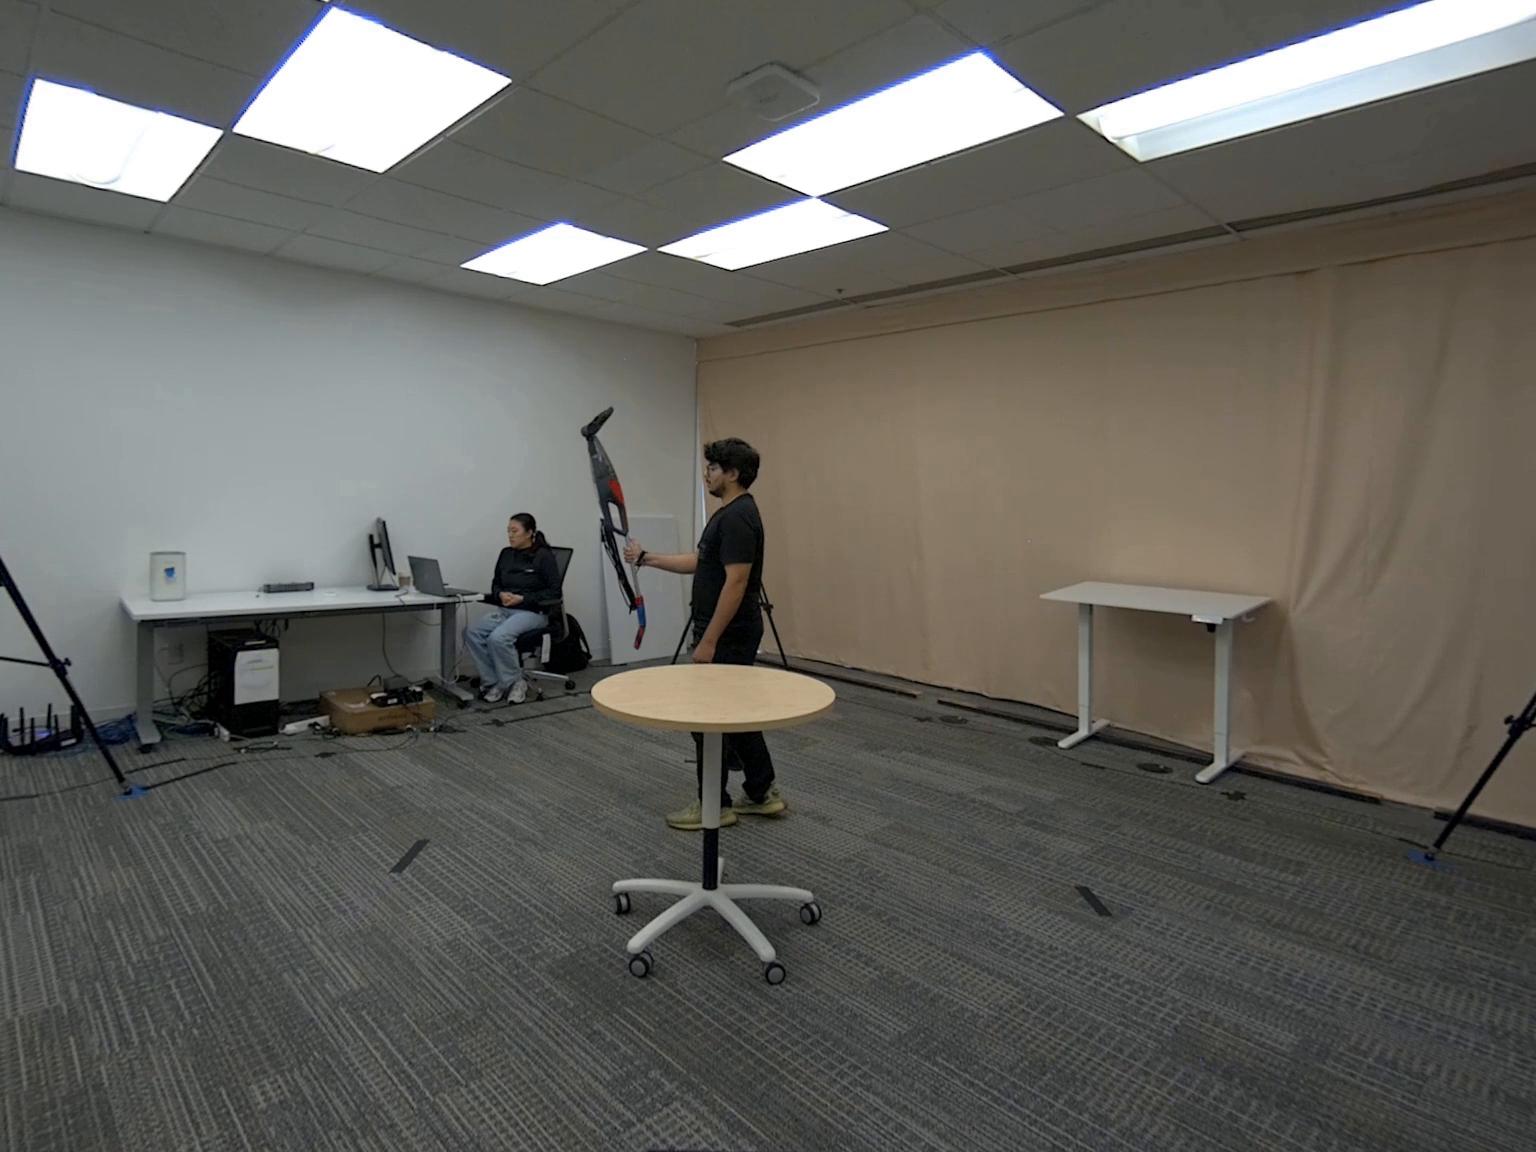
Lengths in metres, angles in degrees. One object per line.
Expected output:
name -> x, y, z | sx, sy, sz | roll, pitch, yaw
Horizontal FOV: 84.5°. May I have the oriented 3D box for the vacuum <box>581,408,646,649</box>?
vacuum -> -0.691, -0.190, 3.830 | 0.142, 1.048, 0.255 | -10, 1, -18
